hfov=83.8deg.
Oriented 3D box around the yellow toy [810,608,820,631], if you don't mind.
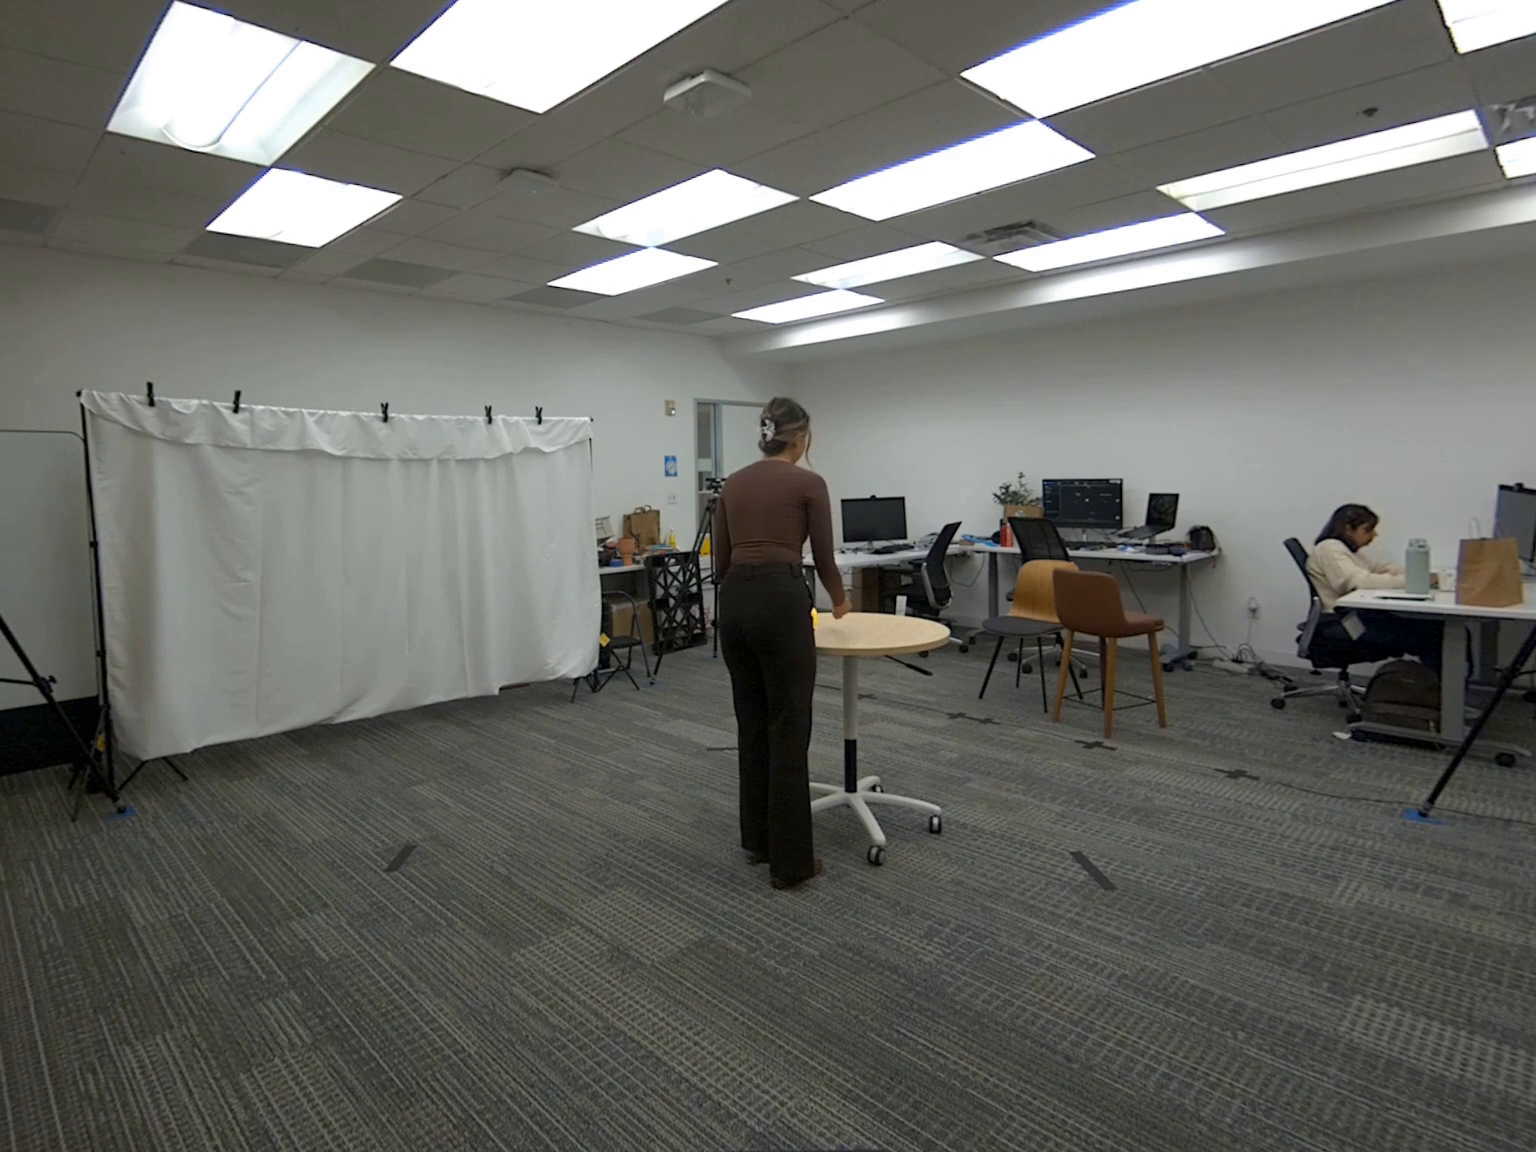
[{"bbox_3d":[0.113,0.076,3.540,0.202,0.230,0.196,-3,4,-12],"label":"yellow toy"}]
